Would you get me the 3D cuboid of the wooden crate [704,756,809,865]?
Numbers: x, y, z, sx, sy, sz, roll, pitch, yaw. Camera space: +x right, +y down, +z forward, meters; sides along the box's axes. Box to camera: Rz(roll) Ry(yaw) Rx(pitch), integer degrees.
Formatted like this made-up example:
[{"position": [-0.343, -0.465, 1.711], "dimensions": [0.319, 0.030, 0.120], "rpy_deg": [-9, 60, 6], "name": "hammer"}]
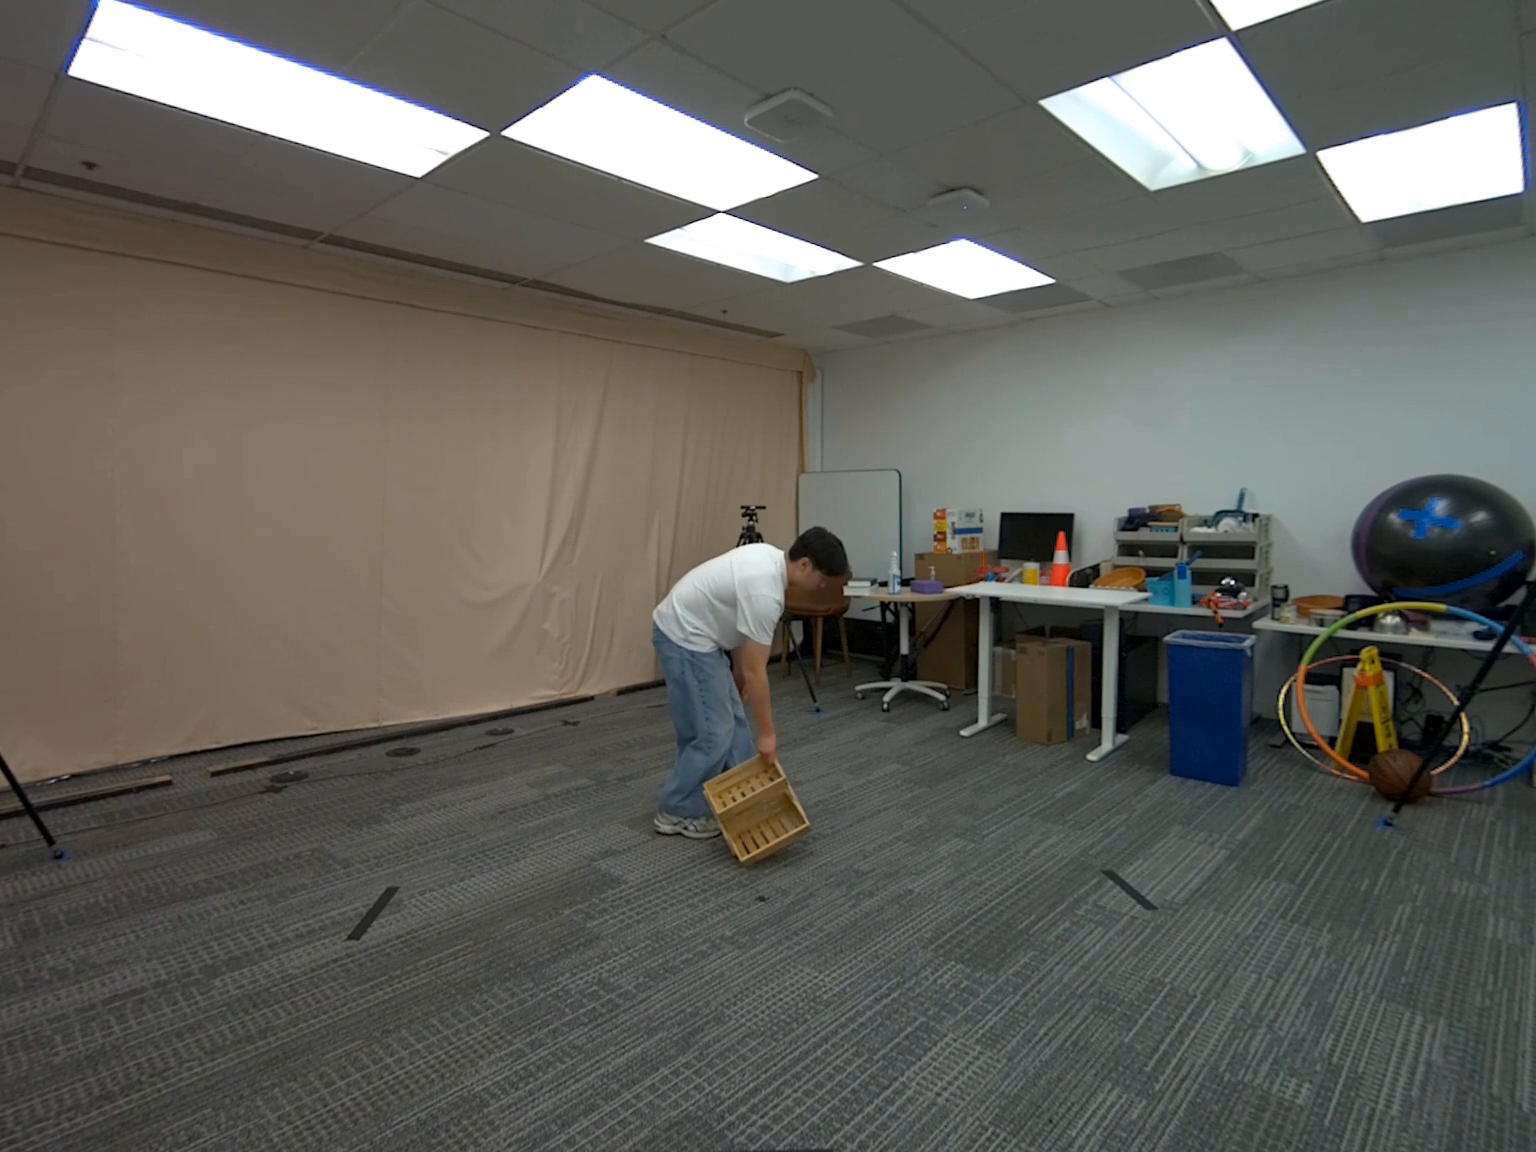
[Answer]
[{"position": [-0.037, 0.919, 3.351], "dimensions": [0.322, 0.270, 0.308], "rpy_deg": [-26, 13, -11], "name": "wooden crate"}]
